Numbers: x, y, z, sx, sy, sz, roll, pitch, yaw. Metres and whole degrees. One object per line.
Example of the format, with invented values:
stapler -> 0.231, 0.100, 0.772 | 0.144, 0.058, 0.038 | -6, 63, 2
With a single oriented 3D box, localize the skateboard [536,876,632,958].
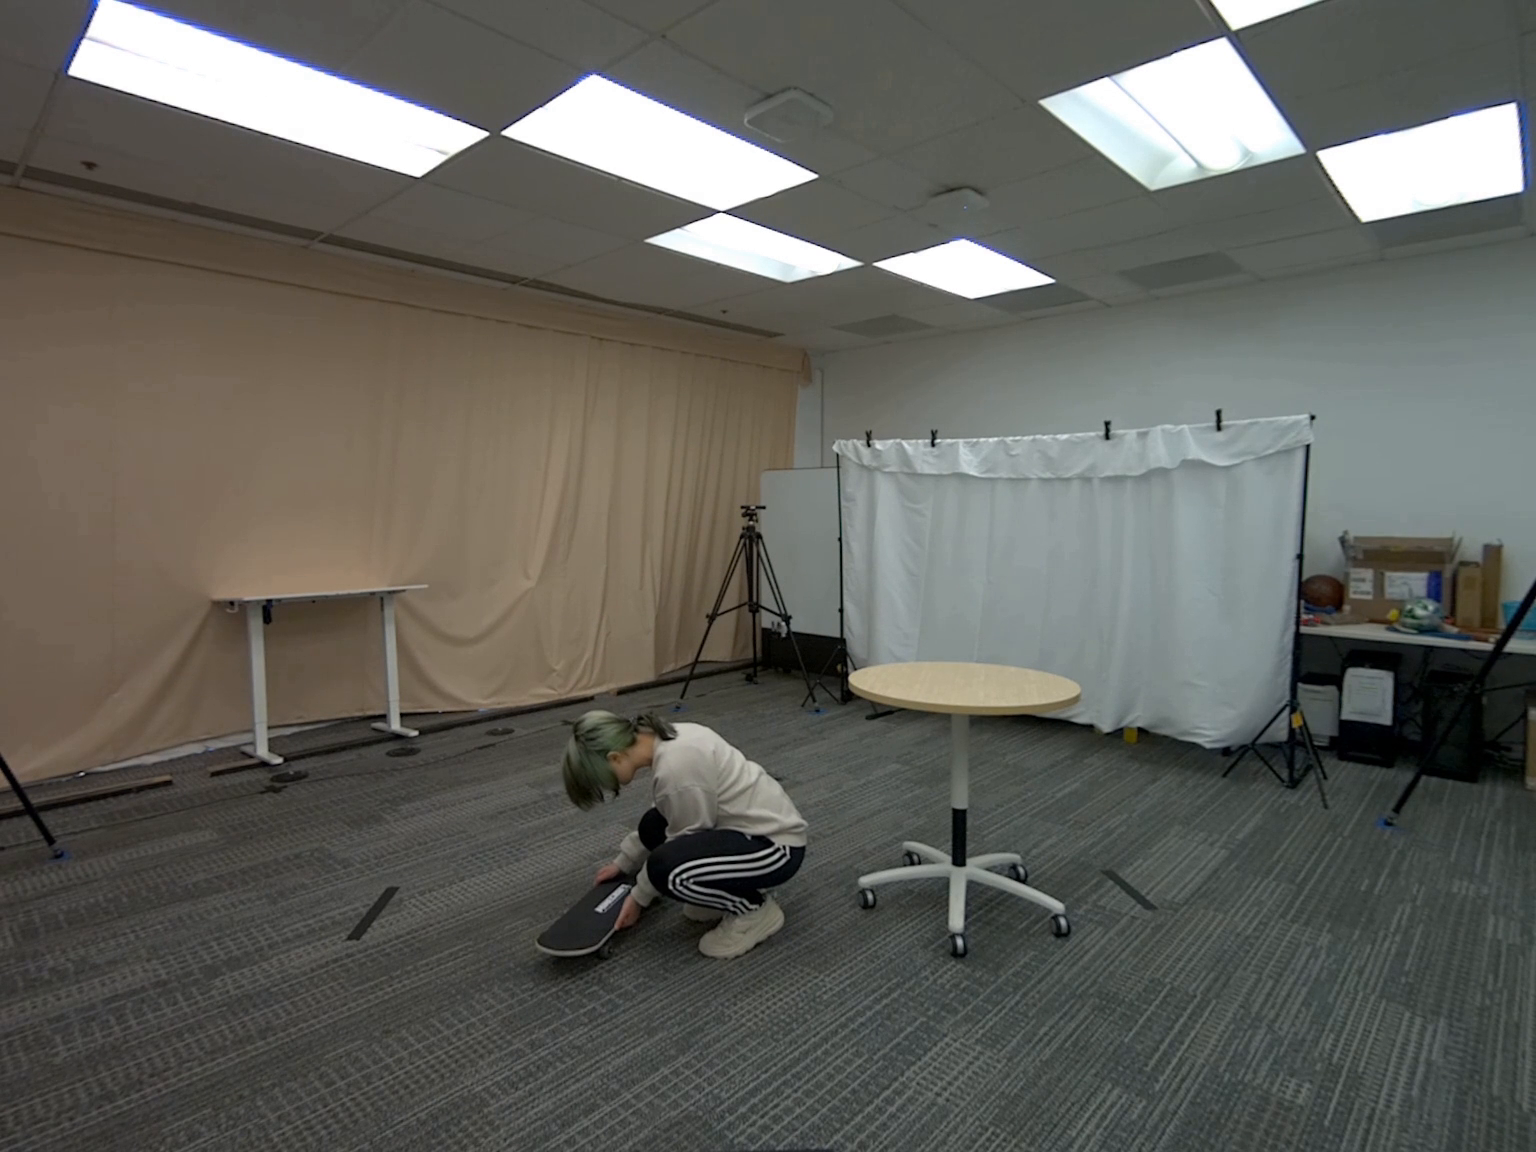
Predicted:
skateboard -> -0.516, 1.104, 2.808 | 0.197, 0.110, 0.772 | 0, 5, 17
